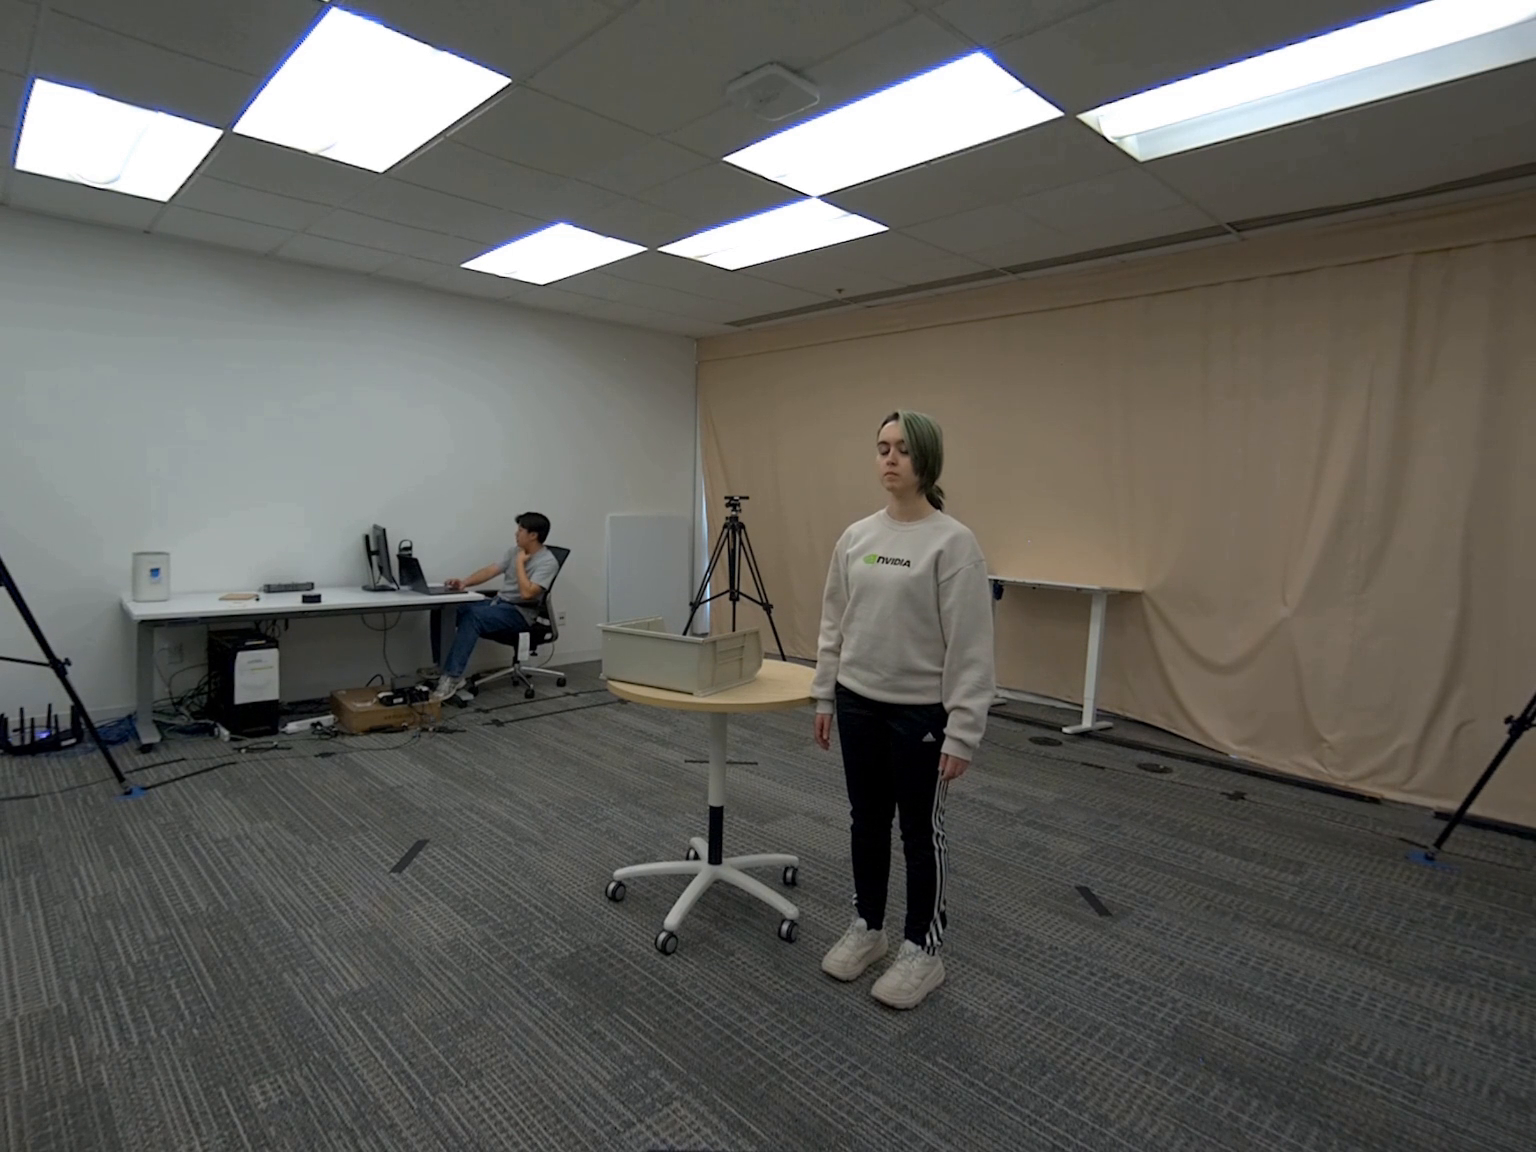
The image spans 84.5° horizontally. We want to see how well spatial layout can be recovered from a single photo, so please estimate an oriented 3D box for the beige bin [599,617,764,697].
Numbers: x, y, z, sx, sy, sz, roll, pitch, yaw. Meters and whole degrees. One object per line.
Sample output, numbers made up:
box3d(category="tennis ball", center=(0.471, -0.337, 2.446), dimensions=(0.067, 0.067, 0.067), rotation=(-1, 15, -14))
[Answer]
box3d(category="beige bin", center=(-0.293, 0.255, 2.791), dimensions=(0.432, 0.188, 0.370), rotation=(5, 7, 31))
